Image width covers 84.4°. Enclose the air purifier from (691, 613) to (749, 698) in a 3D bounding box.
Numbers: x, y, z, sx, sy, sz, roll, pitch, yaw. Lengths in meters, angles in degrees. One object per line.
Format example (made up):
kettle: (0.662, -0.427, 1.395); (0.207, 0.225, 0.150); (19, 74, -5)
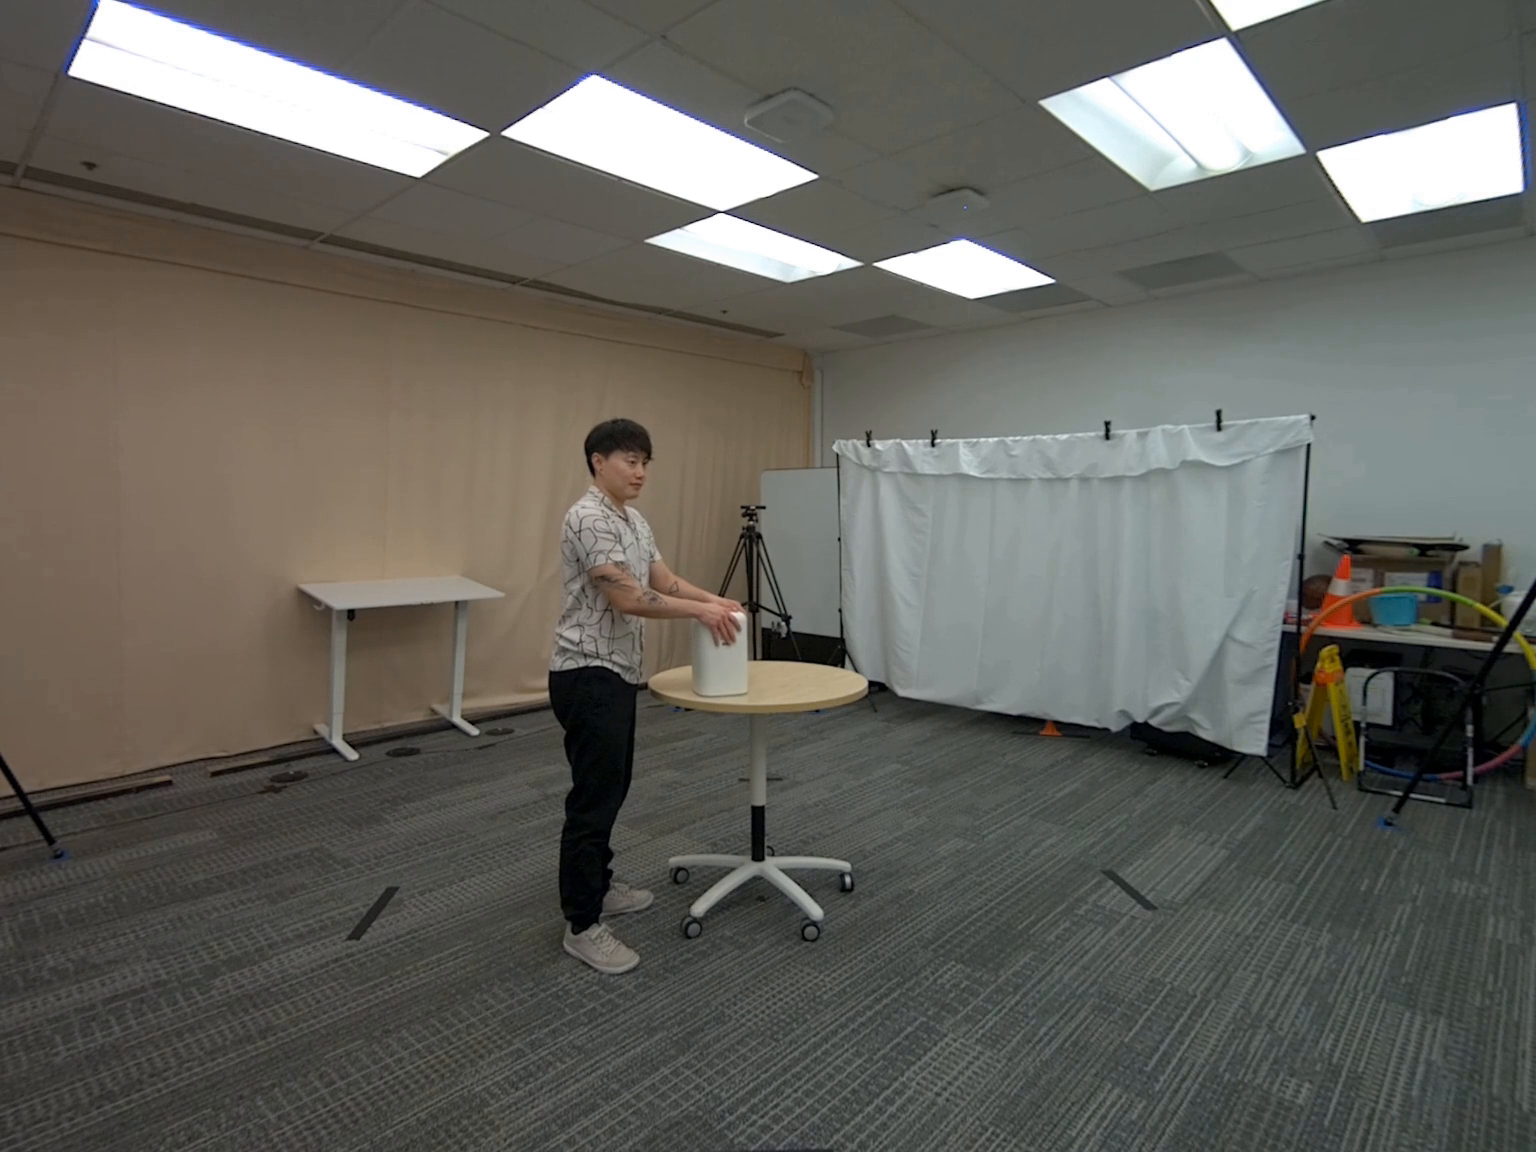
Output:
air purifier: (-0.160, 0.249, 2.764); (0.169, 0.265, 0.174); (-1, 3, -14)
